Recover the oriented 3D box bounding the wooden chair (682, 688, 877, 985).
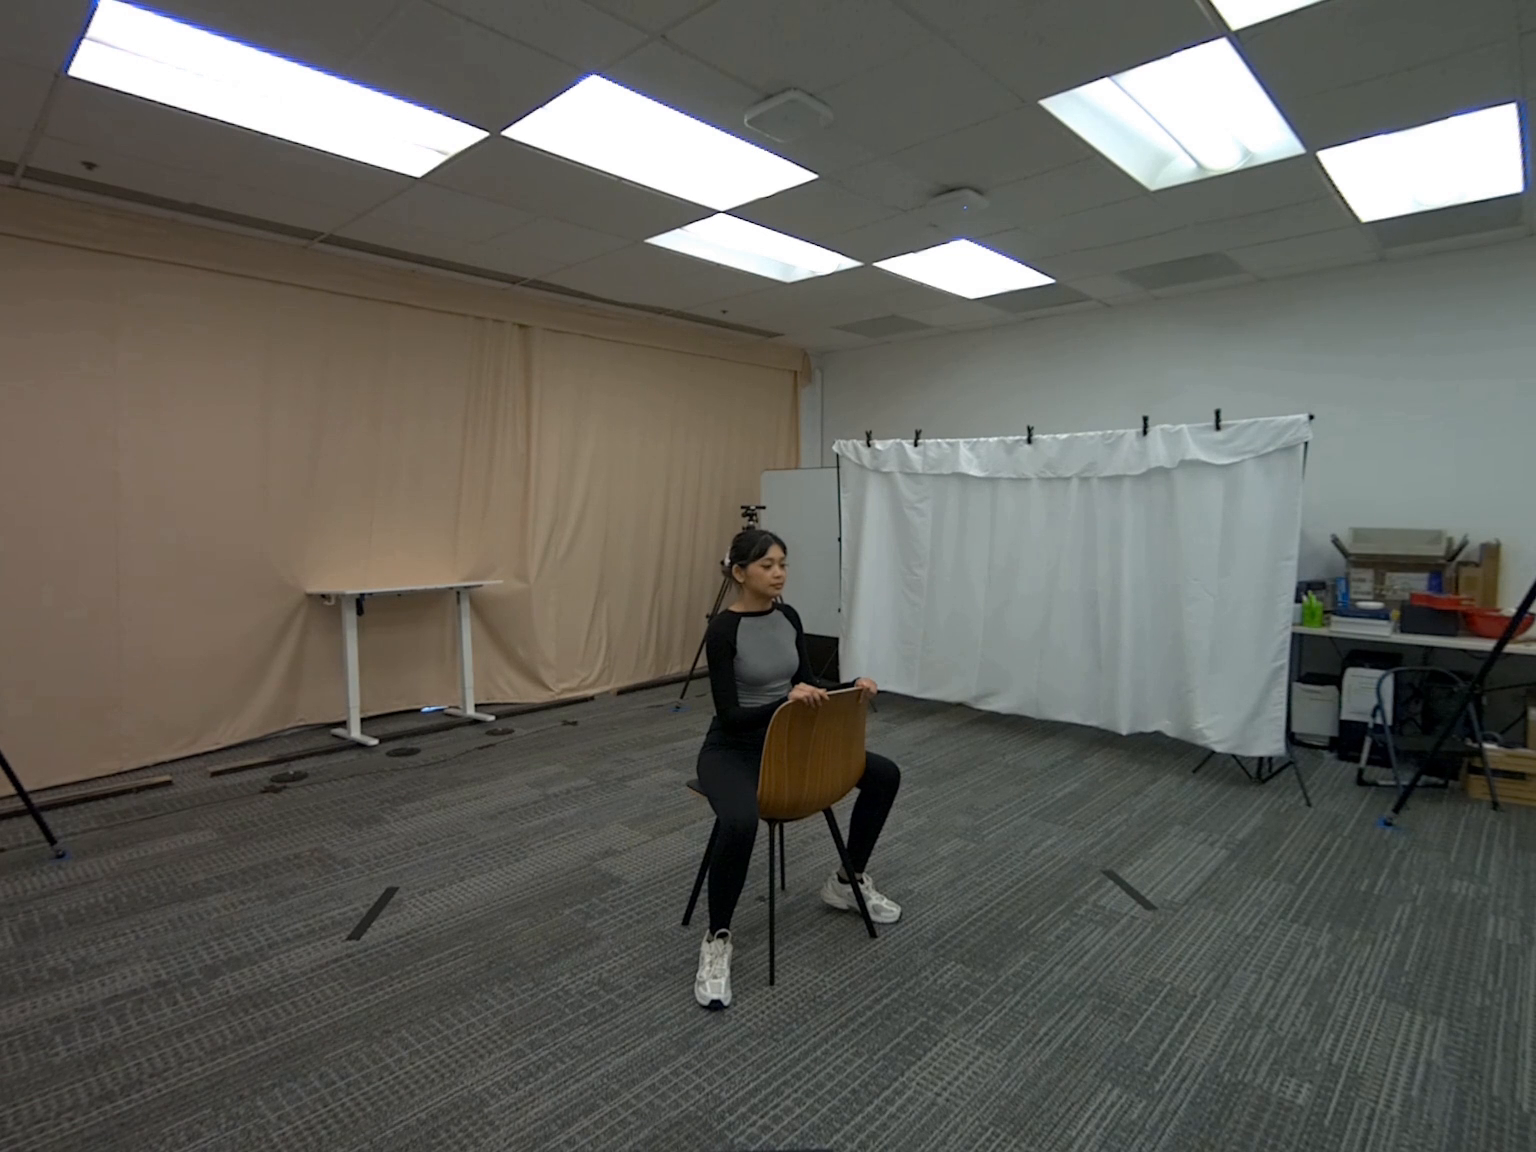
[{"bbox_3d":[0.028,0.738,2.736,0.464,0.874,0.541,-2,9,-39],"label":"wooden chair"}]
